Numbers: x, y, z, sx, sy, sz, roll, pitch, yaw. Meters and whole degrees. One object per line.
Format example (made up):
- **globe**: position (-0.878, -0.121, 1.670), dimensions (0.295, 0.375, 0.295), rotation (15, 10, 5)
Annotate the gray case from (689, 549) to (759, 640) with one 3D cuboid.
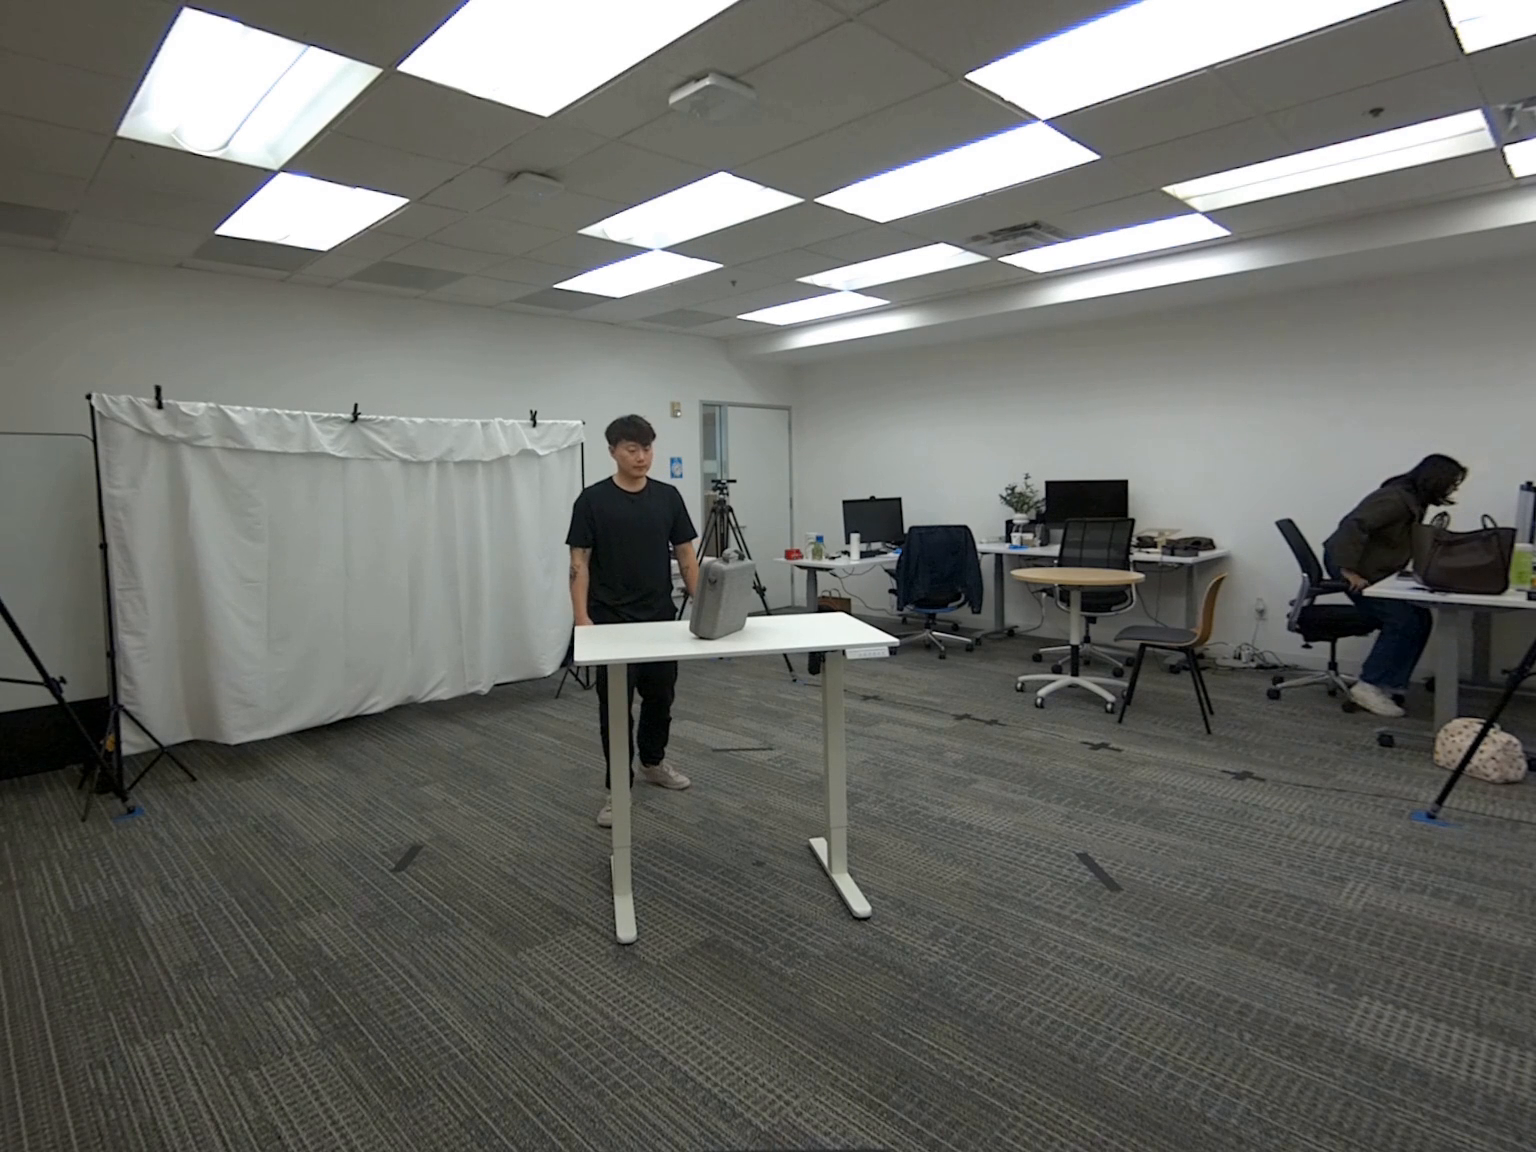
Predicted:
- **gray case**: position (-0.150, 0.067, 2.858), dimensions (0.107, 0.258, 0.253), rotation (12, 11, 22)
